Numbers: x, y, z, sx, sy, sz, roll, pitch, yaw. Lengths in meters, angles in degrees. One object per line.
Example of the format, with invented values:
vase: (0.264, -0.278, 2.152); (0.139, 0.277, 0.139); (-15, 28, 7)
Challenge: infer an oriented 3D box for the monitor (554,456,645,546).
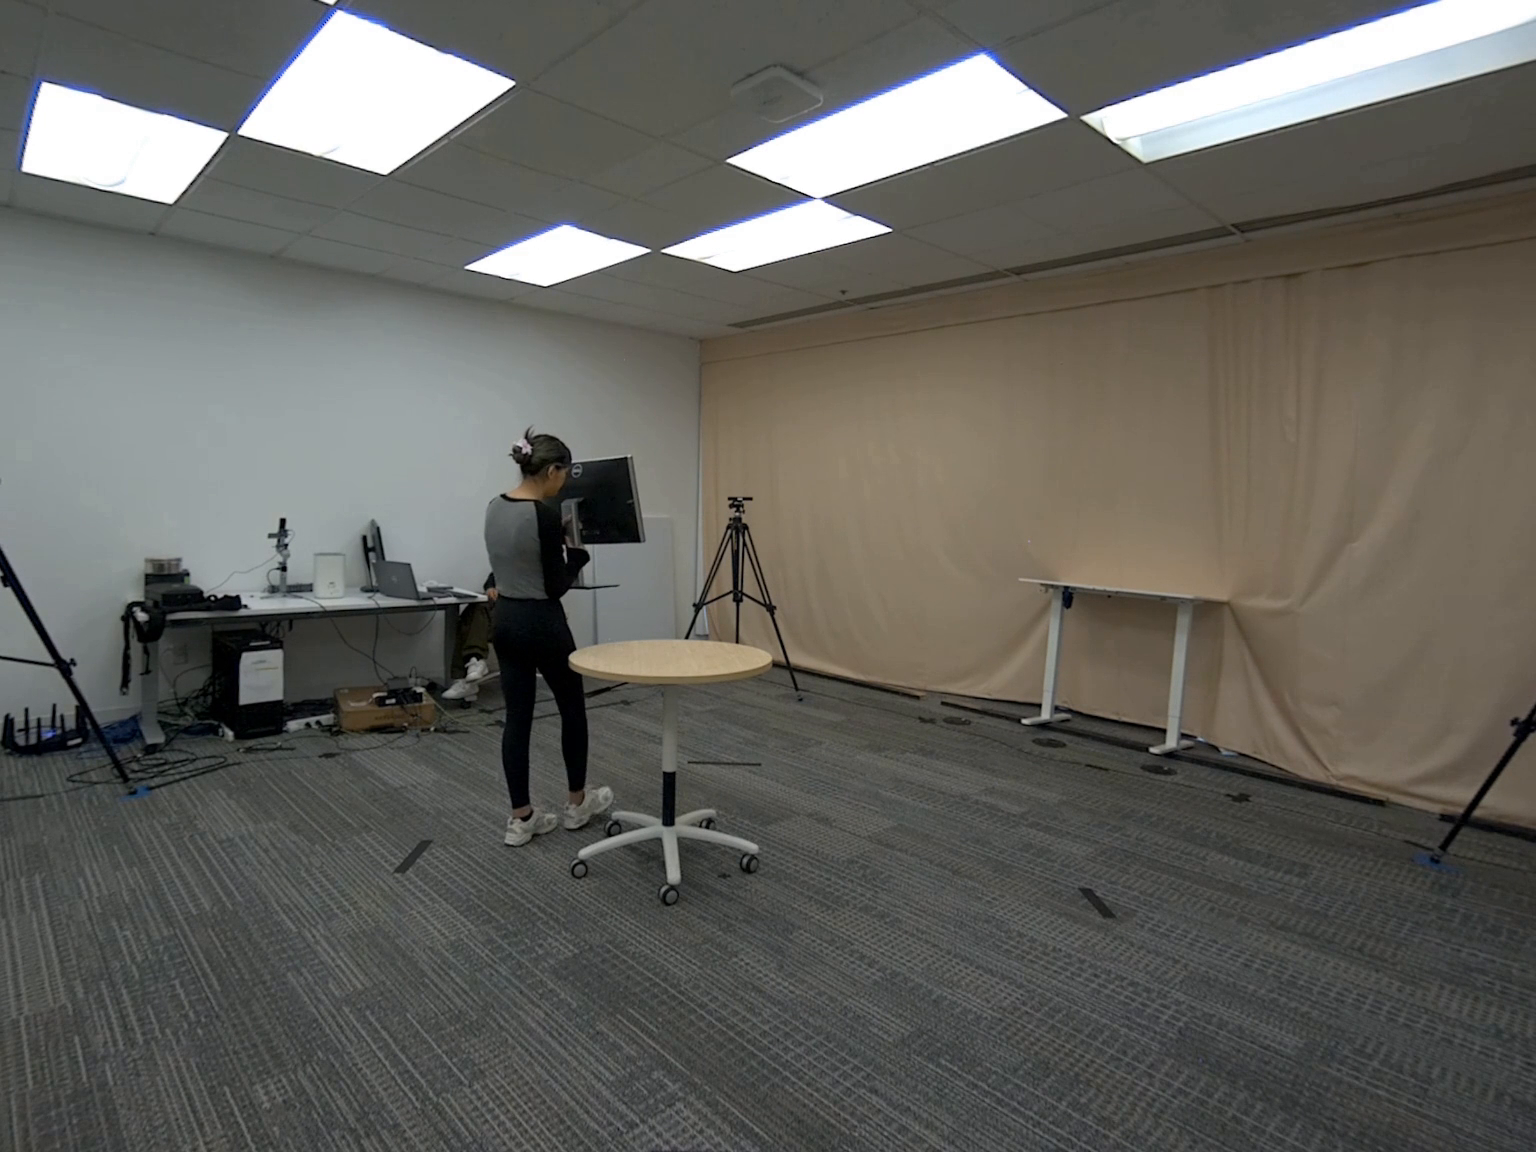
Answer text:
monitor: (-0.796, -0.224, 3.564); (0.550, 0.522, 0.183); (0, 0, 32)
